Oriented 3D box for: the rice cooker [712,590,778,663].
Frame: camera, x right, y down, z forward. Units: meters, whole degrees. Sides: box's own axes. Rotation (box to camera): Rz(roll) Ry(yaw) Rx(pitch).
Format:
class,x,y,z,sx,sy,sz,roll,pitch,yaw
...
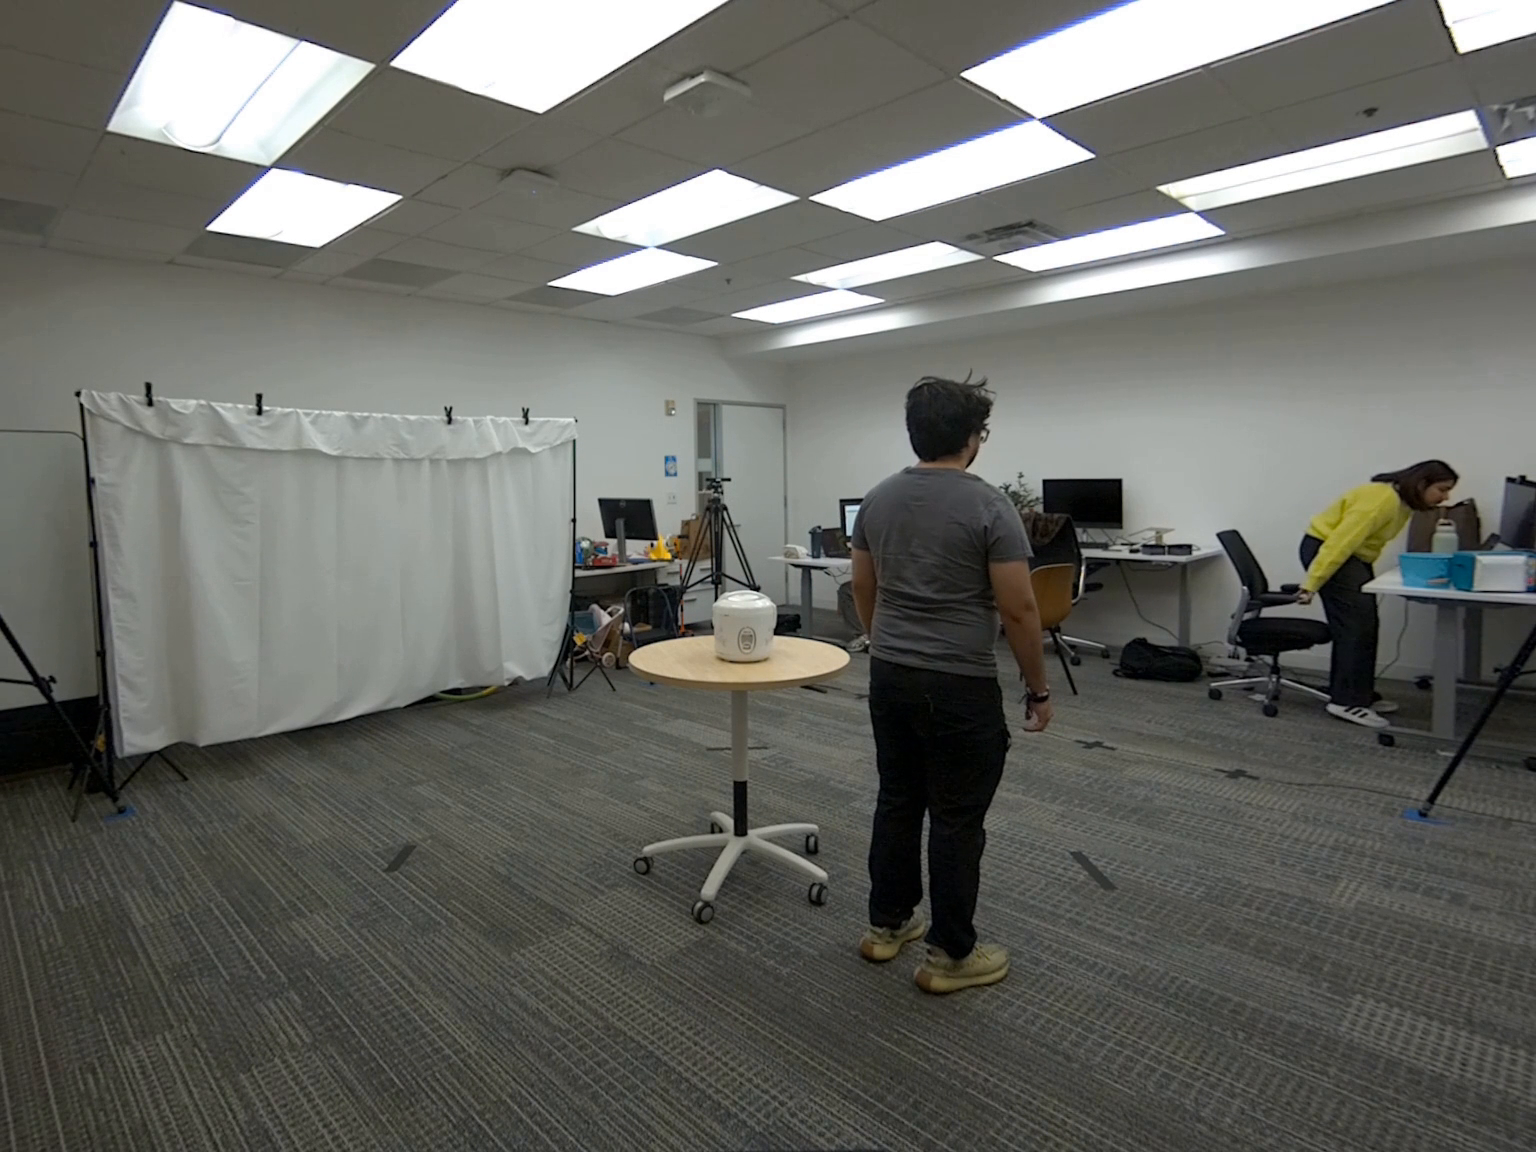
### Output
class,x,y,z,sx,sy,sz,roll,pitch,yaw
rice cooker,-0.077,0.166,2.931,0.219,0.232,0.219,-1,5,-6
